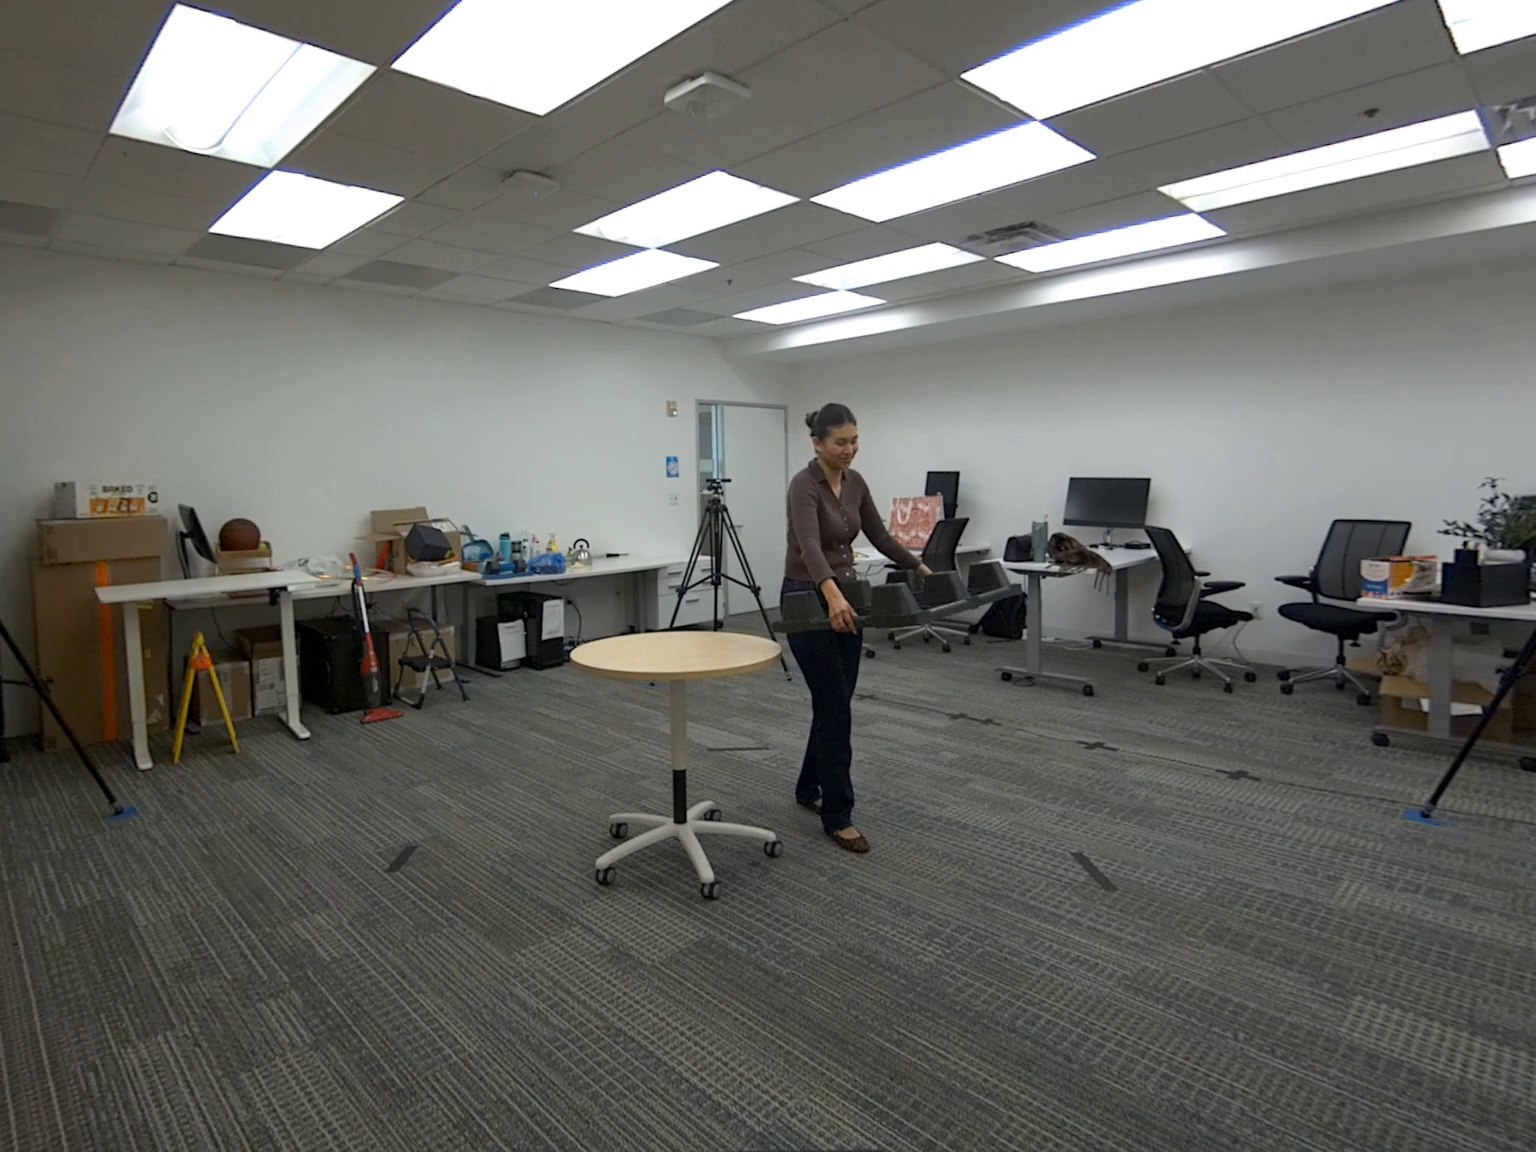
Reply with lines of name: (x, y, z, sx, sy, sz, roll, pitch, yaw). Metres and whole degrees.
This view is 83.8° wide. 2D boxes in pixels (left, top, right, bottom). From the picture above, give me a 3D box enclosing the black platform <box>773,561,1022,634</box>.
black platform: (0.482, 0.073, 3.140, 0.620, 0.143, 0.786, -6, 3, 41)
